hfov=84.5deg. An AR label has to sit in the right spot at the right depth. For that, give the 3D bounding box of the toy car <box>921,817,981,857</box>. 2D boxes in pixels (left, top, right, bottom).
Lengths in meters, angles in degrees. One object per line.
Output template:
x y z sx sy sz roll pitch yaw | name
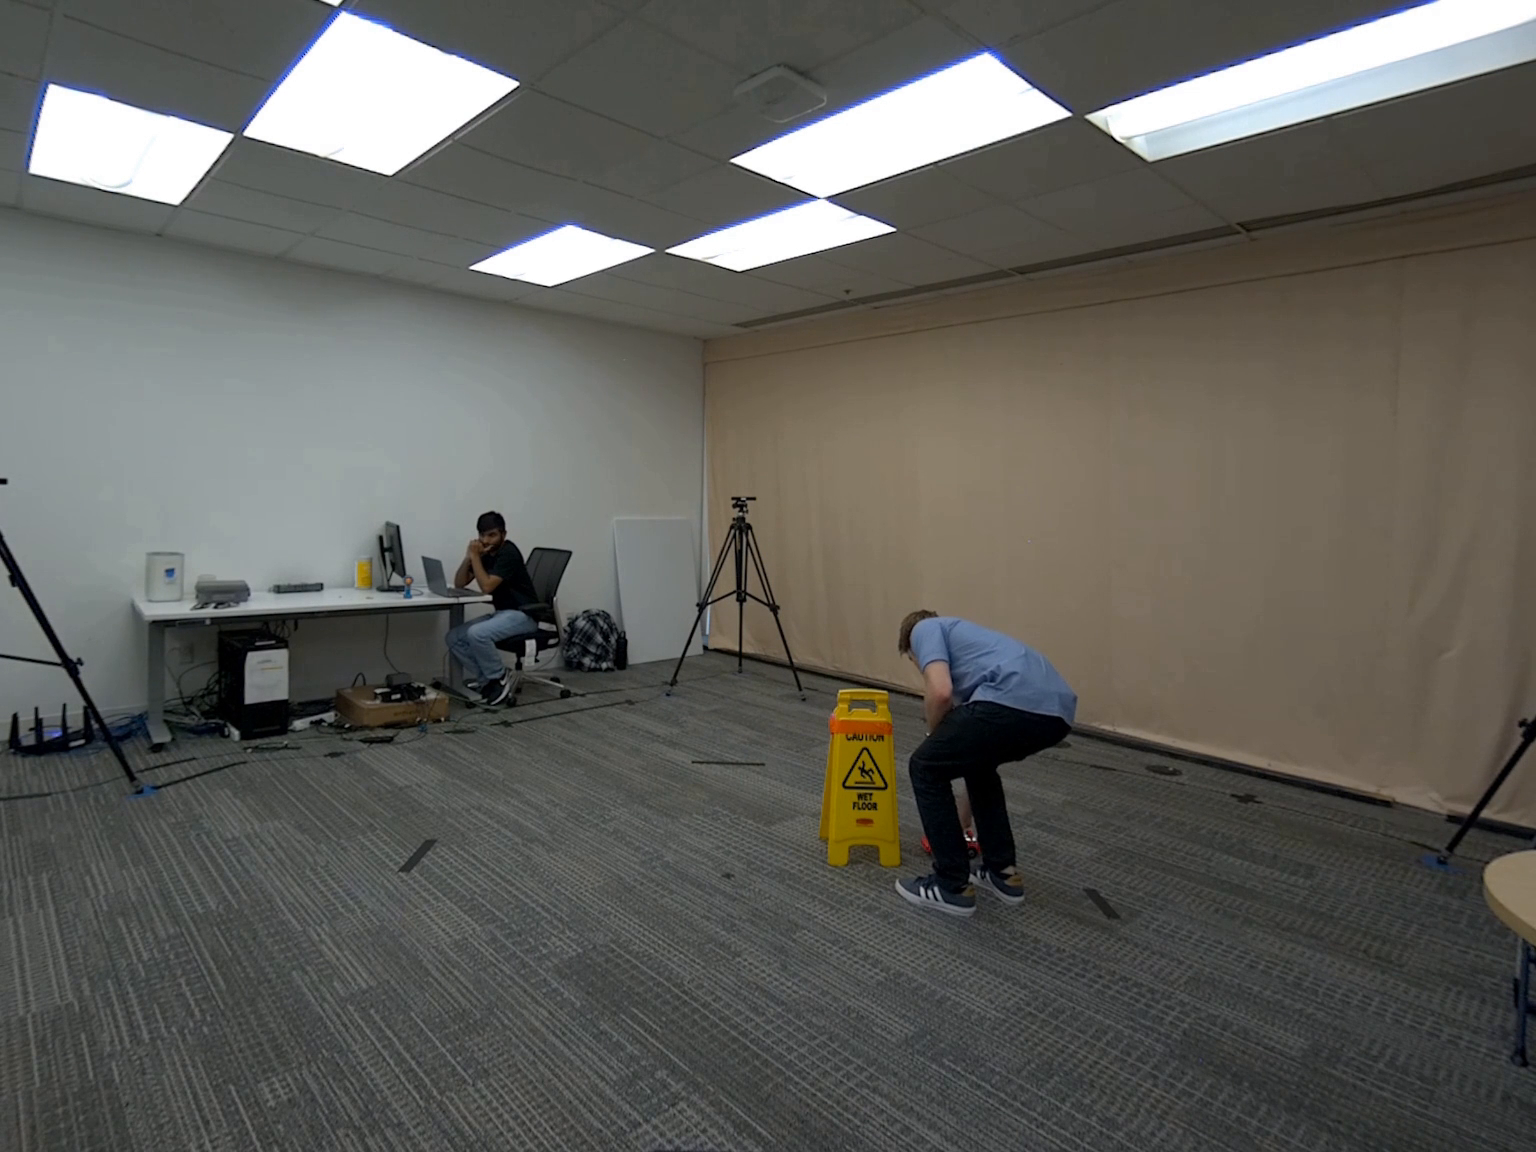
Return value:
0.731 1.075 3.354 0.253 0.083 0.131 -9 2 -6 | toy car
